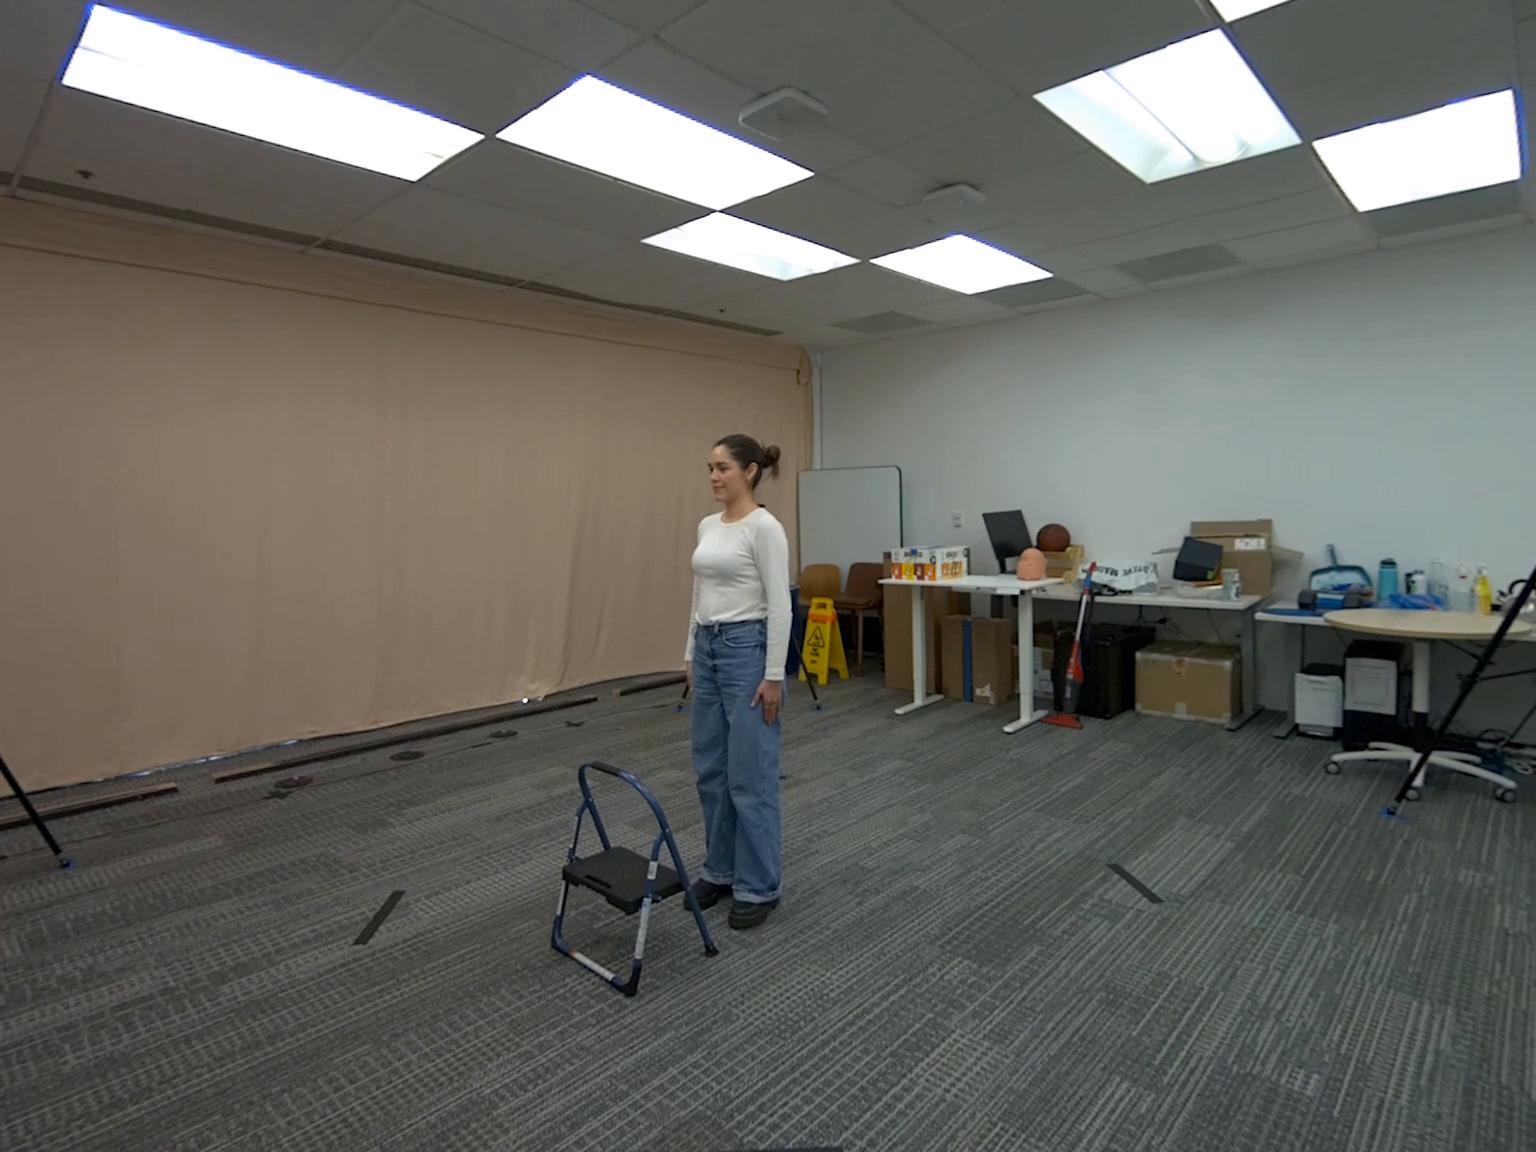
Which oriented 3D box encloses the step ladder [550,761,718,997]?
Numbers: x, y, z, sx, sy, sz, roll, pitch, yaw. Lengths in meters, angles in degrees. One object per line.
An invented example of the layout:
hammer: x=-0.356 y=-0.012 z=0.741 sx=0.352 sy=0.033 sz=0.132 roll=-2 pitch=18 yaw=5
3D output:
step ladder: x=-0.429 y=0.877 z=2.636 sx=0.445 sy=0.605 sz=0.338 roll=2 pitch=4 yaw=43
